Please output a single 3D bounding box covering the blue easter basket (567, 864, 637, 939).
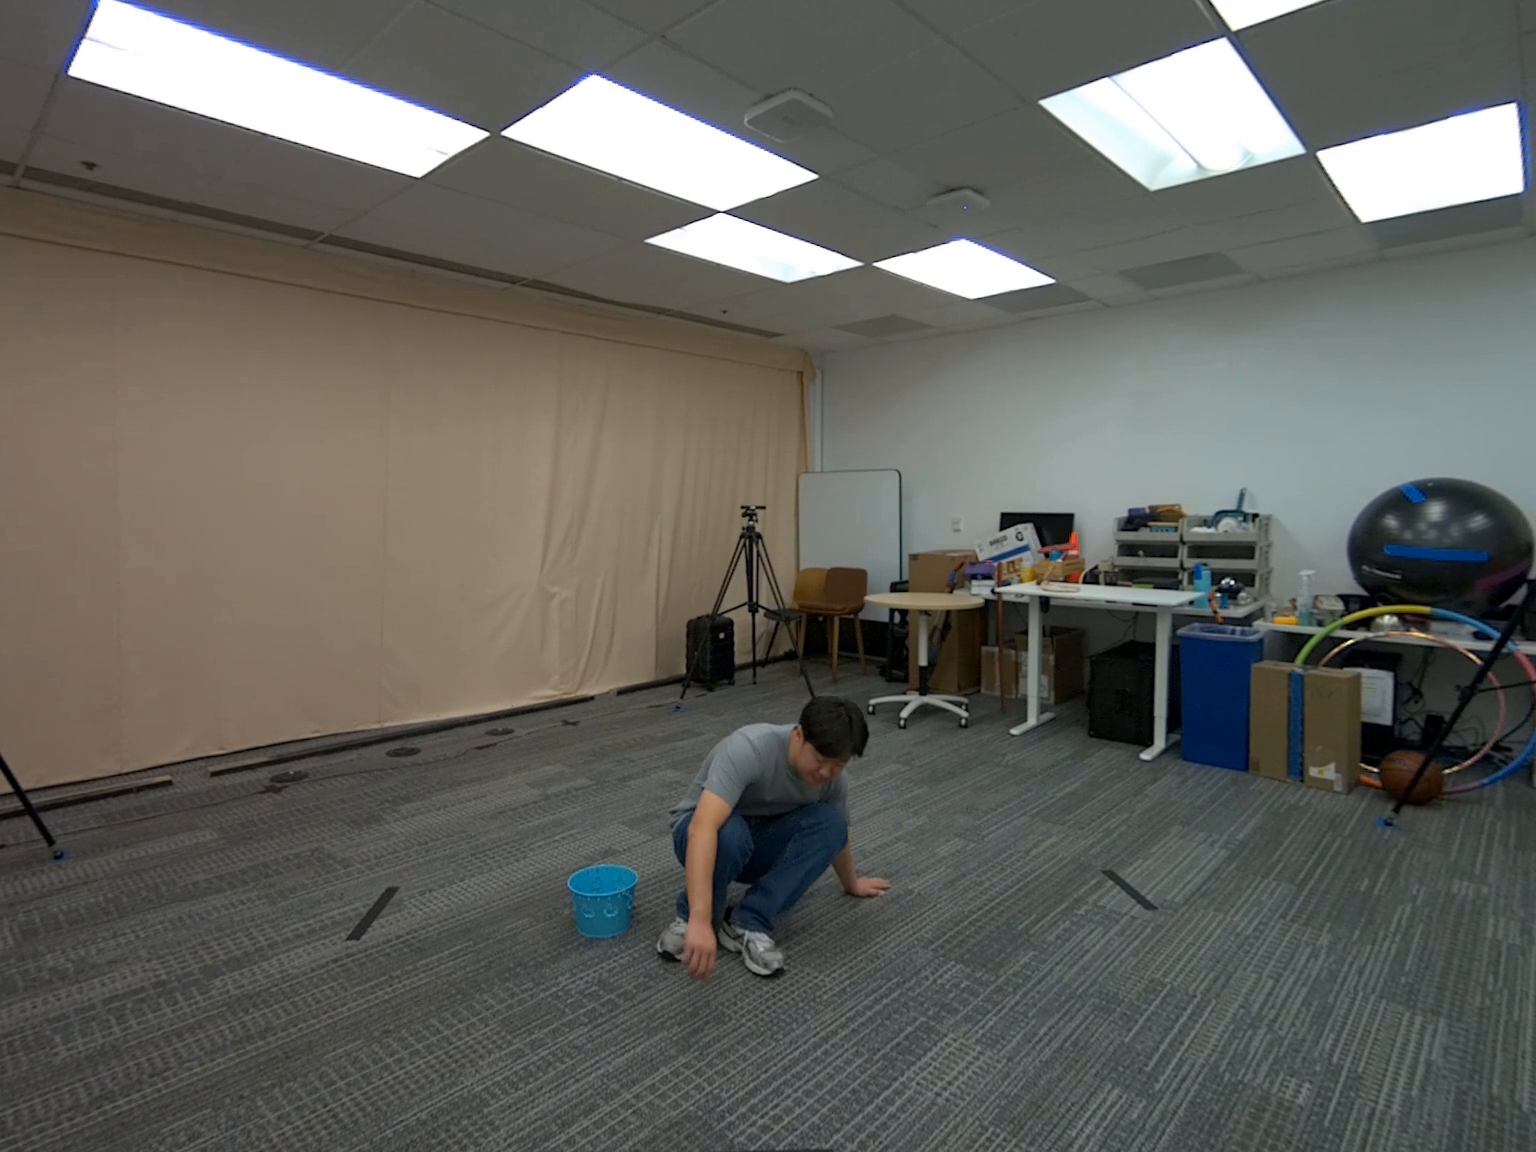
[{"bbox_3d":[-0.542,1.086,2.809,0.243,0.155,0.244,0,4,-2],"label":"blue easter basket"}]
